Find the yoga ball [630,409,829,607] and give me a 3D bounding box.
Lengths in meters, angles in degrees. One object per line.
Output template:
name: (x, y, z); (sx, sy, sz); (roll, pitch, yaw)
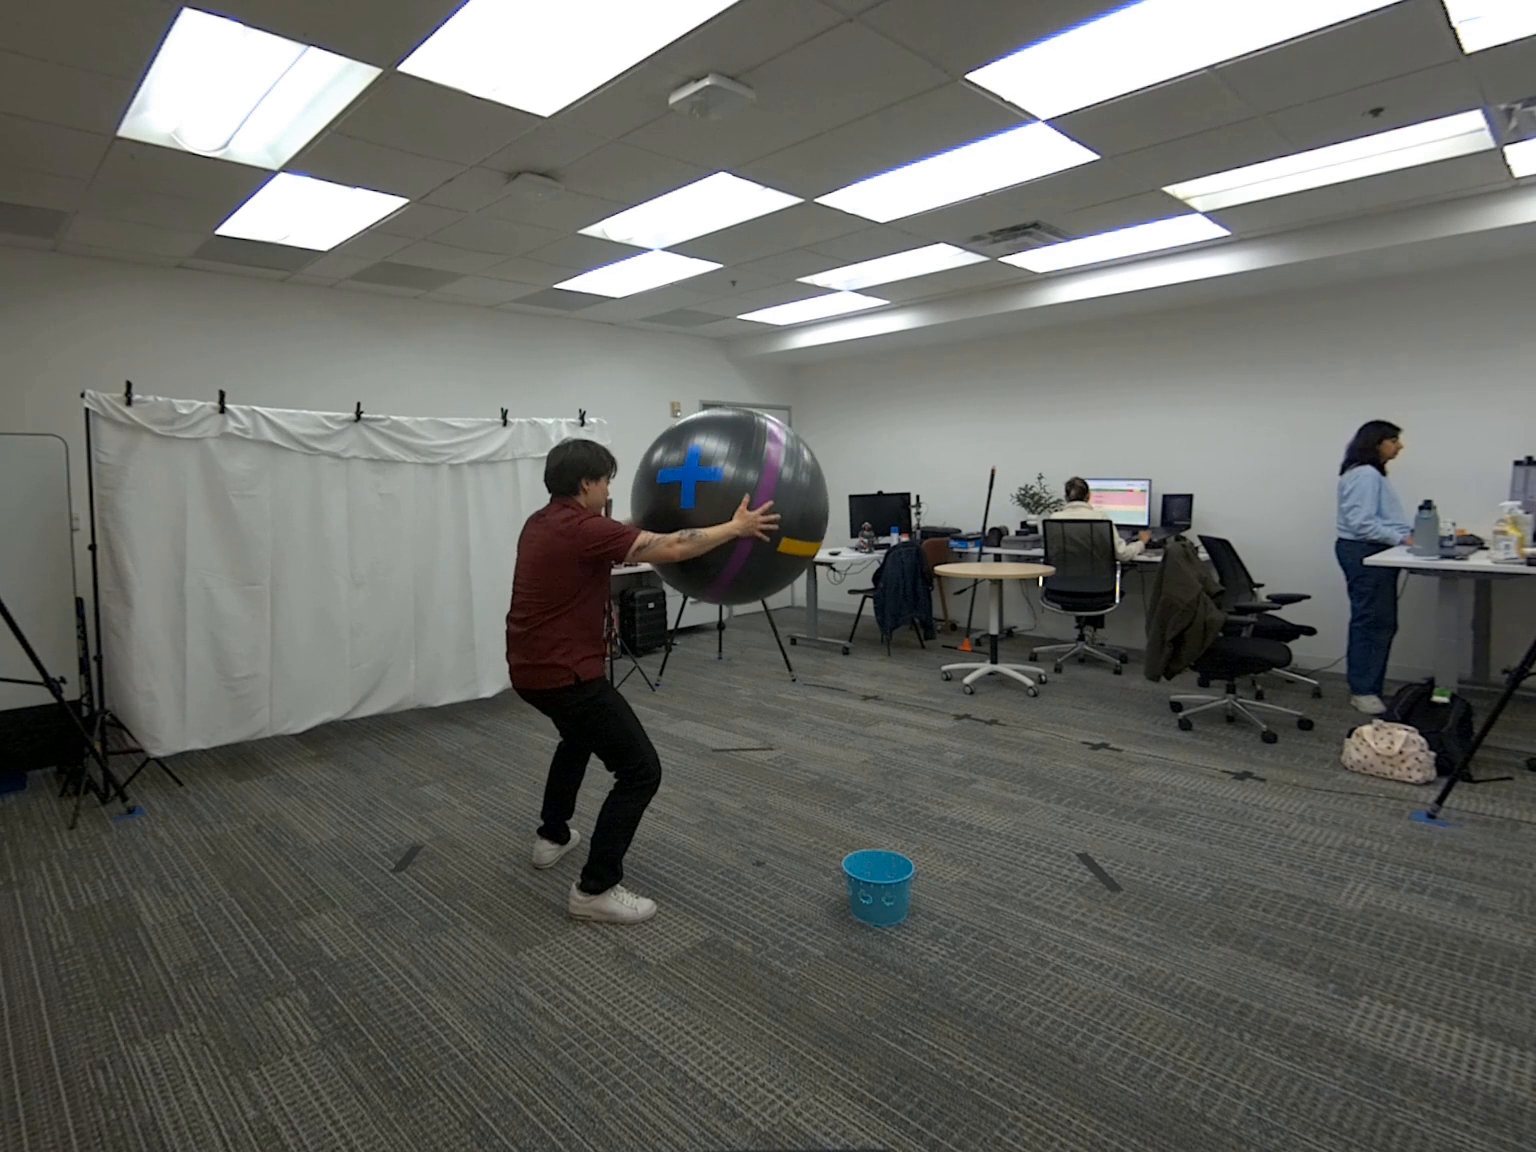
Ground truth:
yoga ball: (-0.151, -0.261, 3.289); (0.757, 0.755, 0.762); (-1, 5, -2)
